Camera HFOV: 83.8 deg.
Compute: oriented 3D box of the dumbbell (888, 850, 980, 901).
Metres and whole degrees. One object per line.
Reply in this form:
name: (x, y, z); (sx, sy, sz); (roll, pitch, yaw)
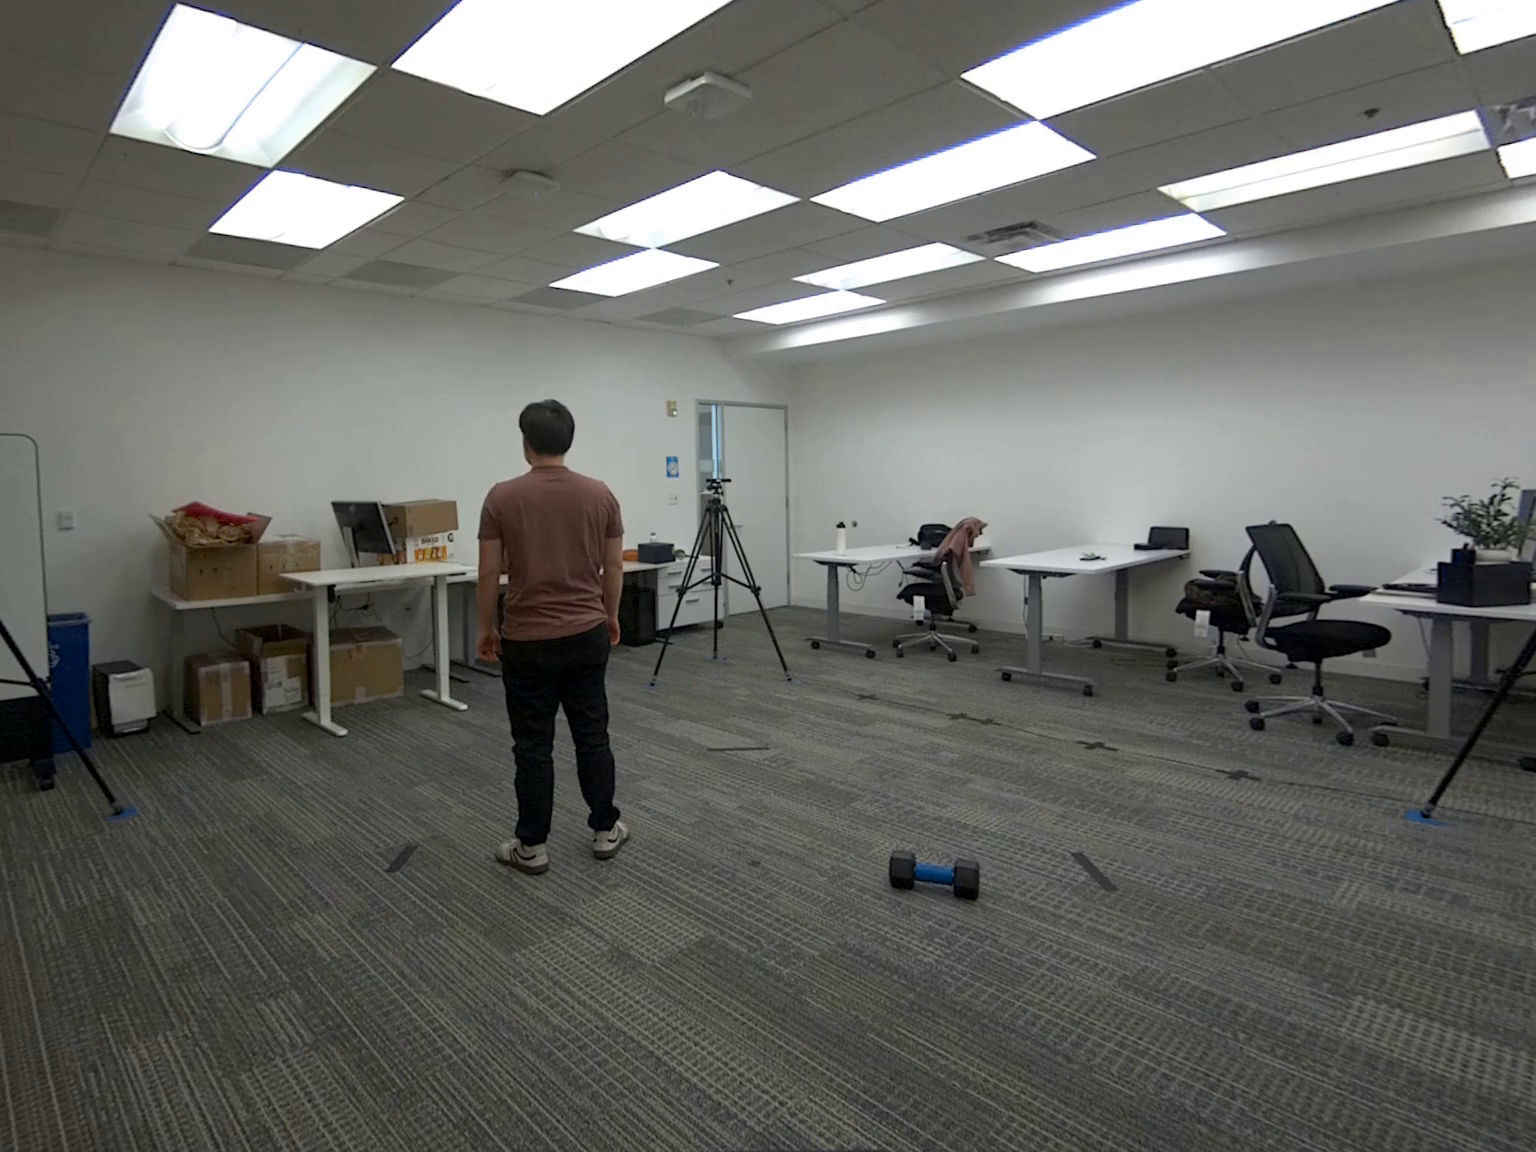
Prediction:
dumbbell: (0.568, 1.007, 2.880); (0.299, 0.119, 0.110); (1, 35, 20)
